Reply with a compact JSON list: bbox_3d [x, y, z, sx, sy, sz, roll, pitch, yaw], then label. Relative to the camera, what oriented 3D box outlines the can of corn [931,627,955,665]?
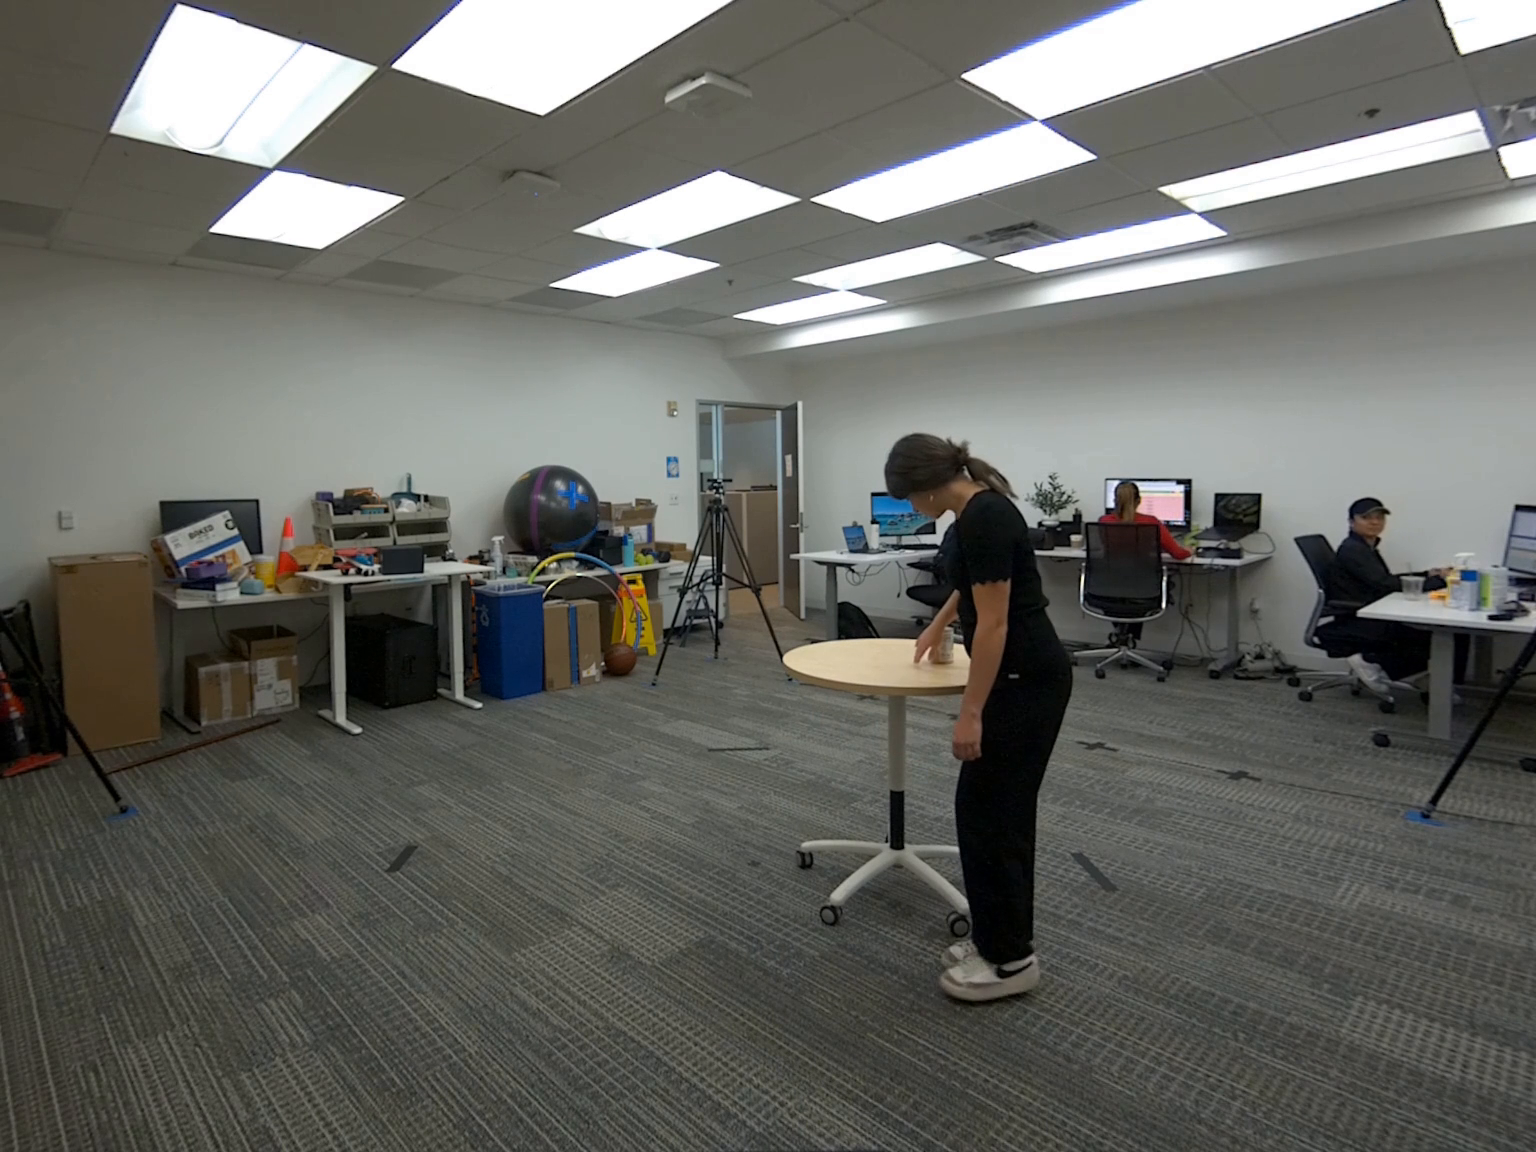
[{"bbox_3d":[0.578,0.228,2.801,0.074,0.111,0.074,0,3,-2],"label":"can of corn"}]
